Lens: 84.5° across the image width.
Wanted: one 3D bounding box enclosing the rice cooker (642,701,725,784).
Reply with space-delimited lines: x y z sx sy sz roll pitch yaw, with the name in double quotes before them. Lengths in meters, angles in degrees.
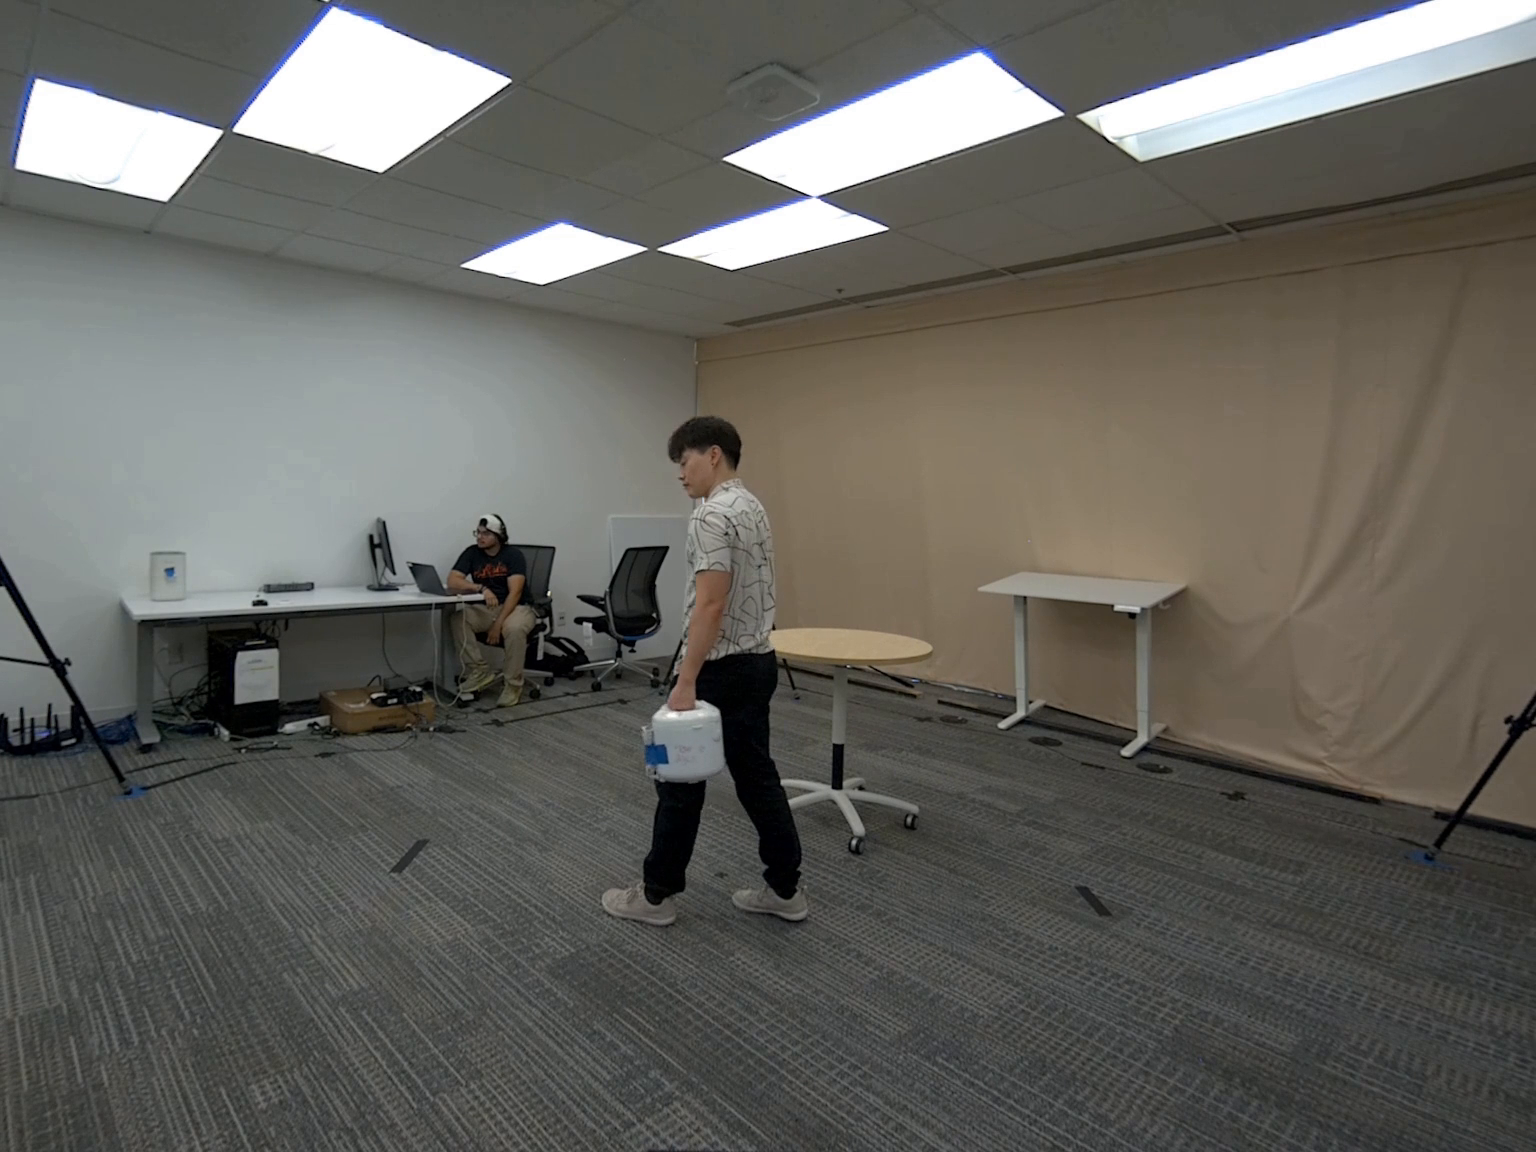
"rice cooker" -0.261 0.484 2.521 0.225 0.233 0.213 -3 0 29
